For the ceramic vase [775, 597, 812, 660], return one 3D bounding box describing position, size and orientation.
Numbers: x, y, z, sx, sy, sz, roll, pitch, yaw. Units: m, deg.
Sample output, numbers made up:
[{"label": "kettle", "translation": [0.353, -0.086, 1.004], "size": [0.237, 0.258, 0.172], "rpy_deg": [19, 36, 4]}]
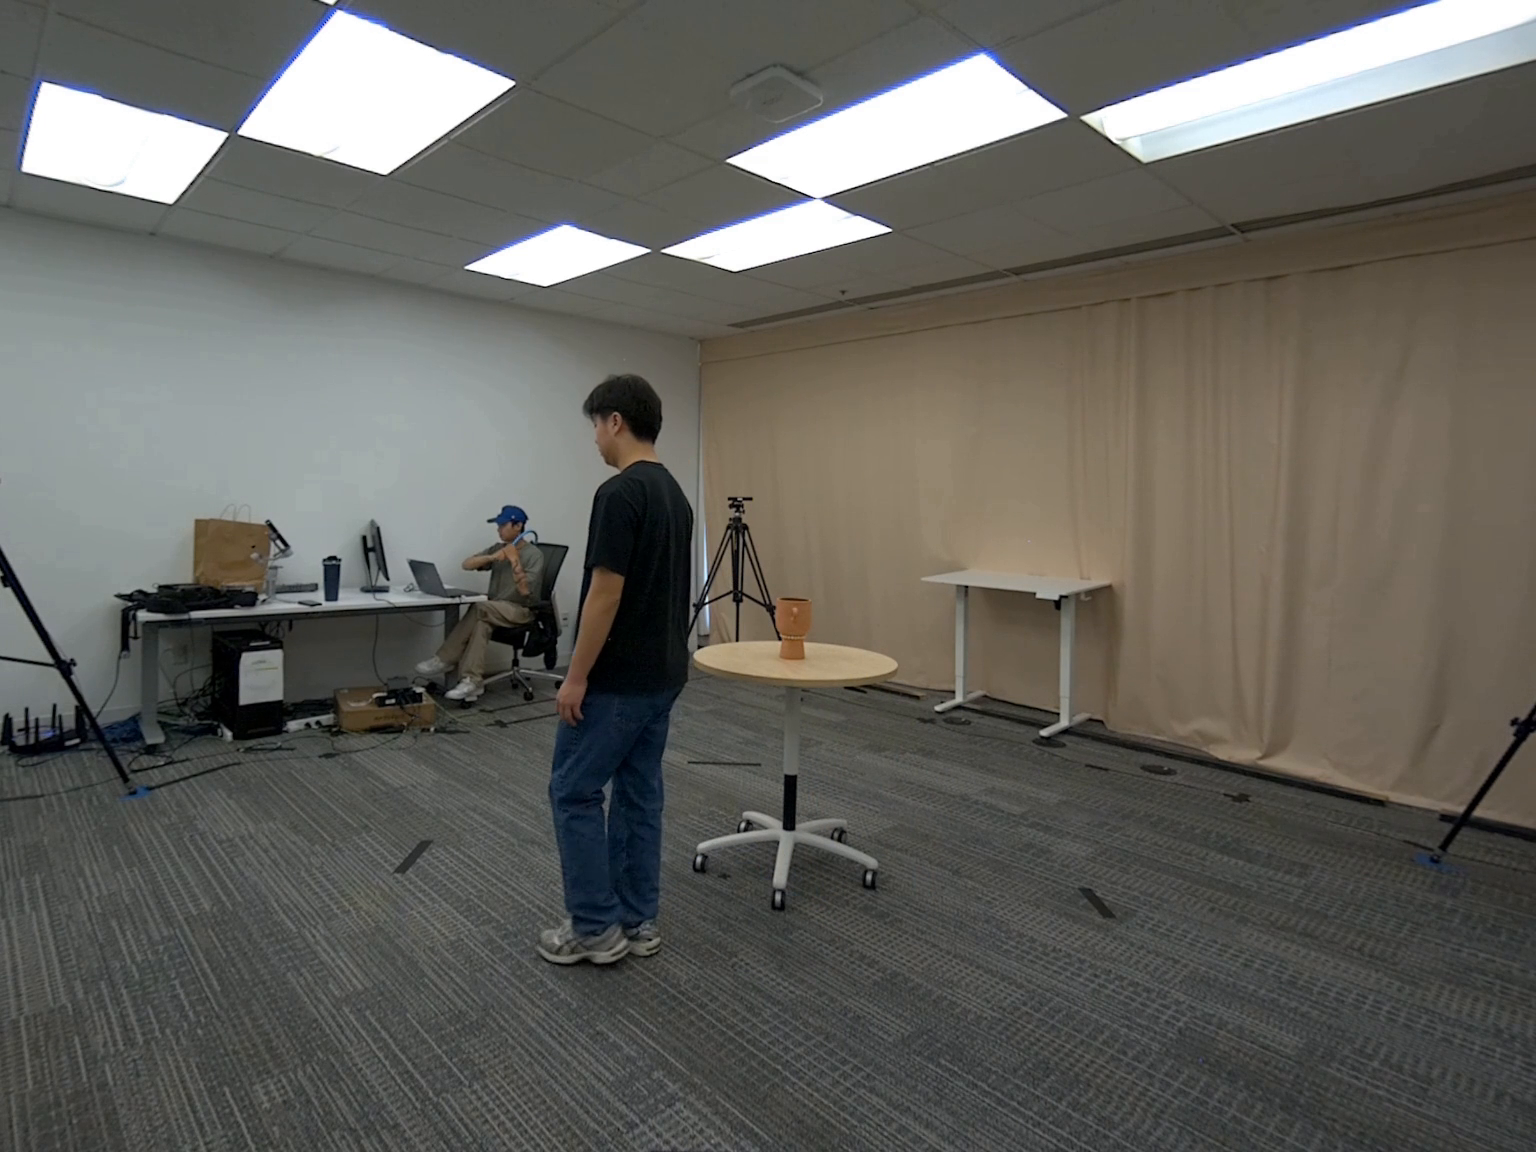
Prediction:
[{"label": "ceramic vase", "translation": [0.087, 0.199, 3.186], "size": [0.138, 0.219, 0.155], "rpy_deg": [5, 4, 37]}]
